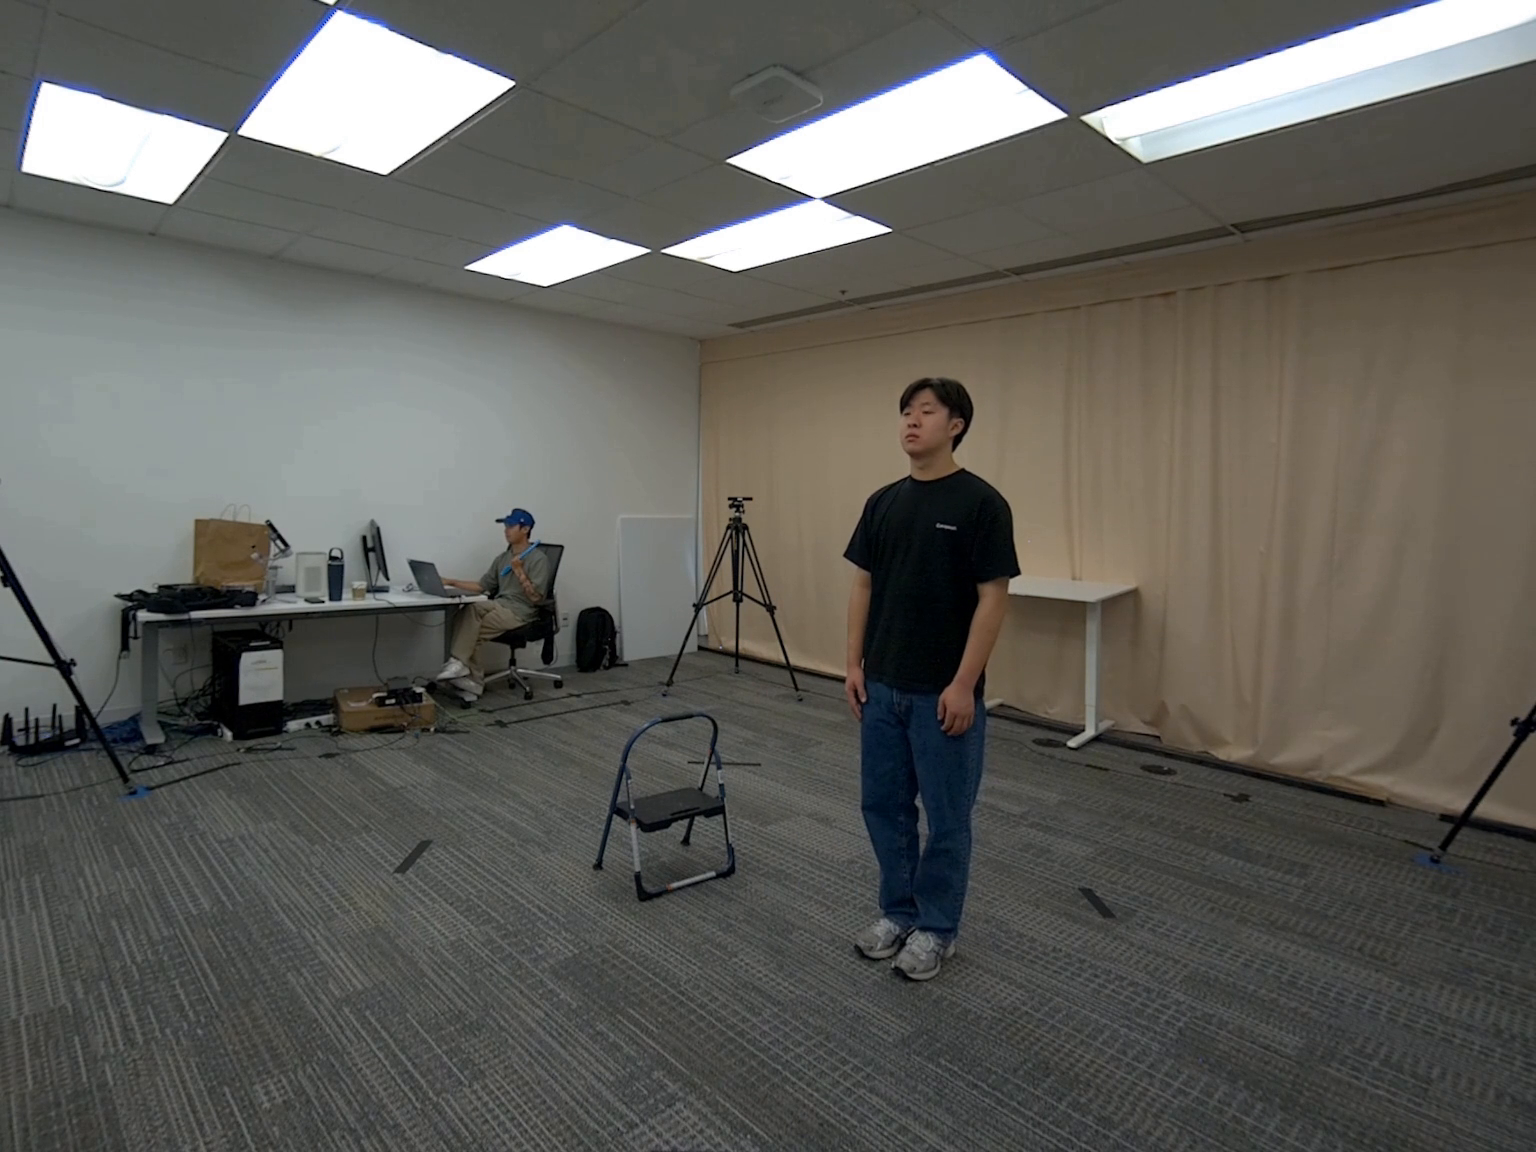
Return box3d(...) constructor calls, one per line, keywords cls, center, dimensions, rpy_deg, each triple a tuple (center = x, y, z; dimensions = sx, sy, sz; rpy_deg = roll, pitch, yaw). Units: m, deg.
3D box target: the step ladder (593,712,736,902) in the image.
box3d(cls="step ladder", center=(-0.385, 0.794, 3.124), dimensions=(0.421, 0.604, 0.358), rpy_deg=(-2, 5, -39))
